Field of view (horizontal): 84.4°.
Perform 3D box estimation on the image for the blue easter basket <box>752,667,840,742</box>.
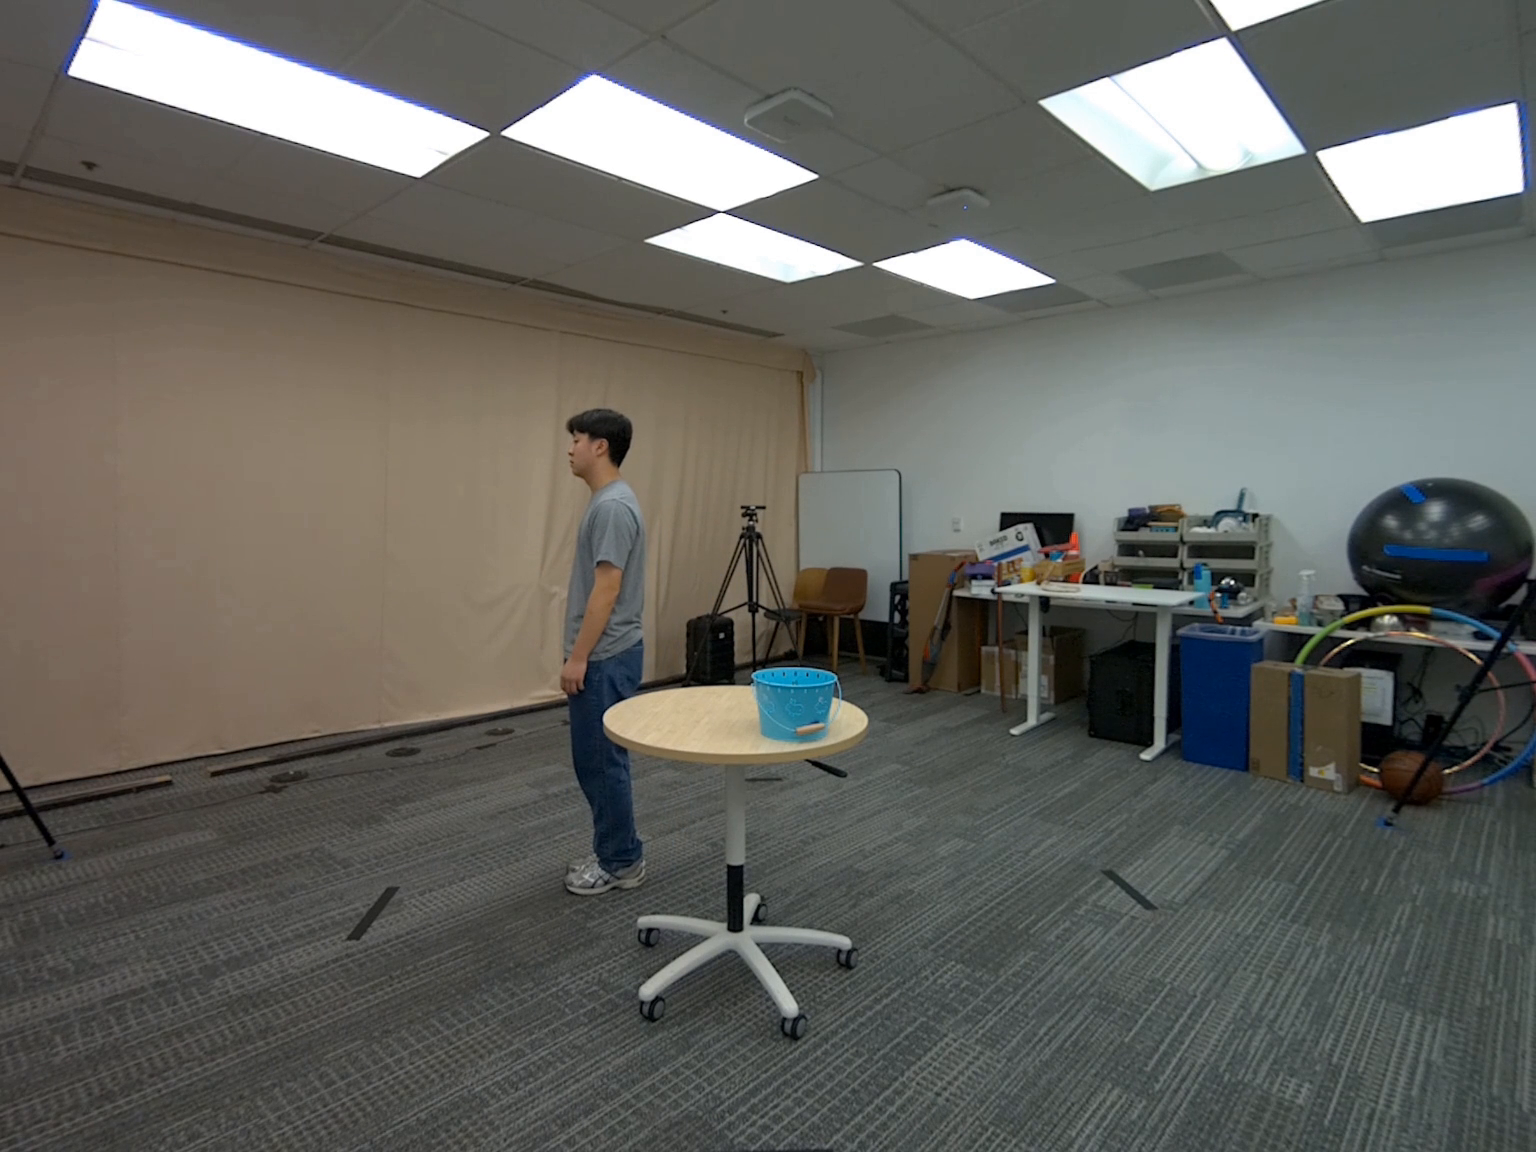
[{"bbox_3d":[0.072,0.351,2.252,0.243,0.155,0.245,0,6,-2],"label":"blue easter basket"}]
